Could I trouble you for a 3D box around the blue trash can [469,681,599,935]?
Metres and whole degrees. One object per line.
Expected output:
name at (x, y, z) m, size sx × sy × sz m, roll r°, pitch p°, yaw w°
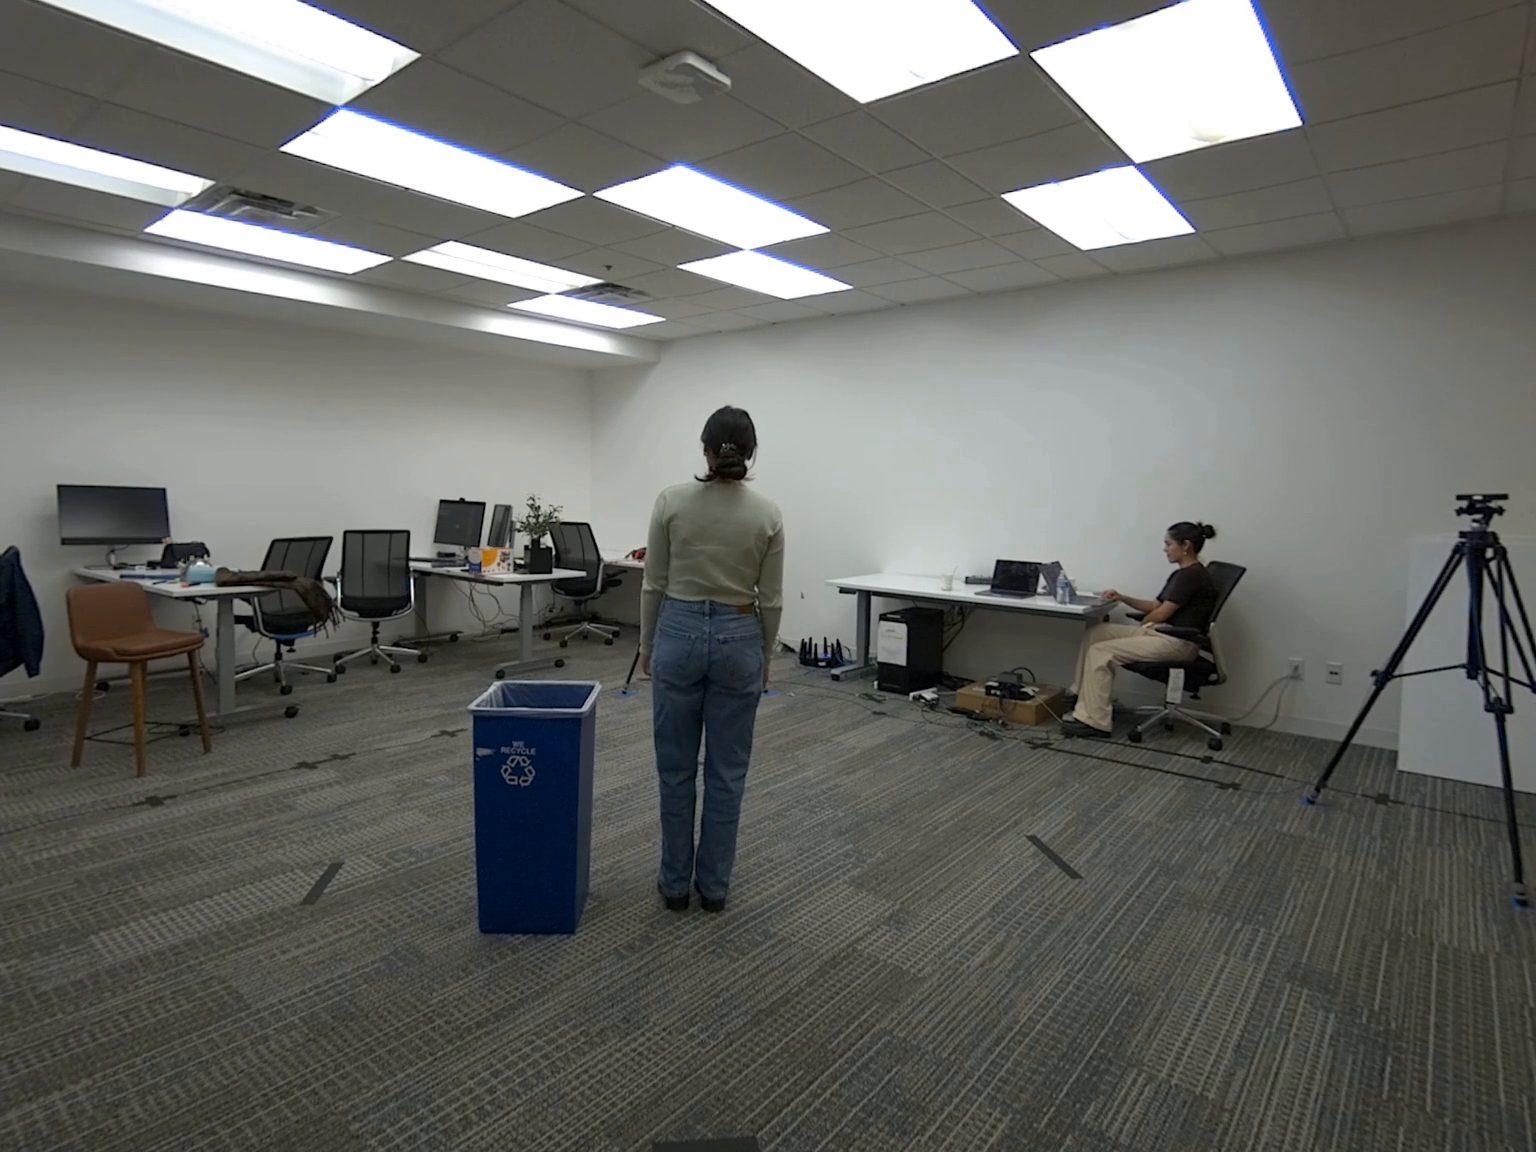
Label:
blue trash can at (-0.751, 0.736, 2.767) m, size 0.374 × 0.711 × 0.379 m, roll 0°, pitch 4°, yaw -1°
